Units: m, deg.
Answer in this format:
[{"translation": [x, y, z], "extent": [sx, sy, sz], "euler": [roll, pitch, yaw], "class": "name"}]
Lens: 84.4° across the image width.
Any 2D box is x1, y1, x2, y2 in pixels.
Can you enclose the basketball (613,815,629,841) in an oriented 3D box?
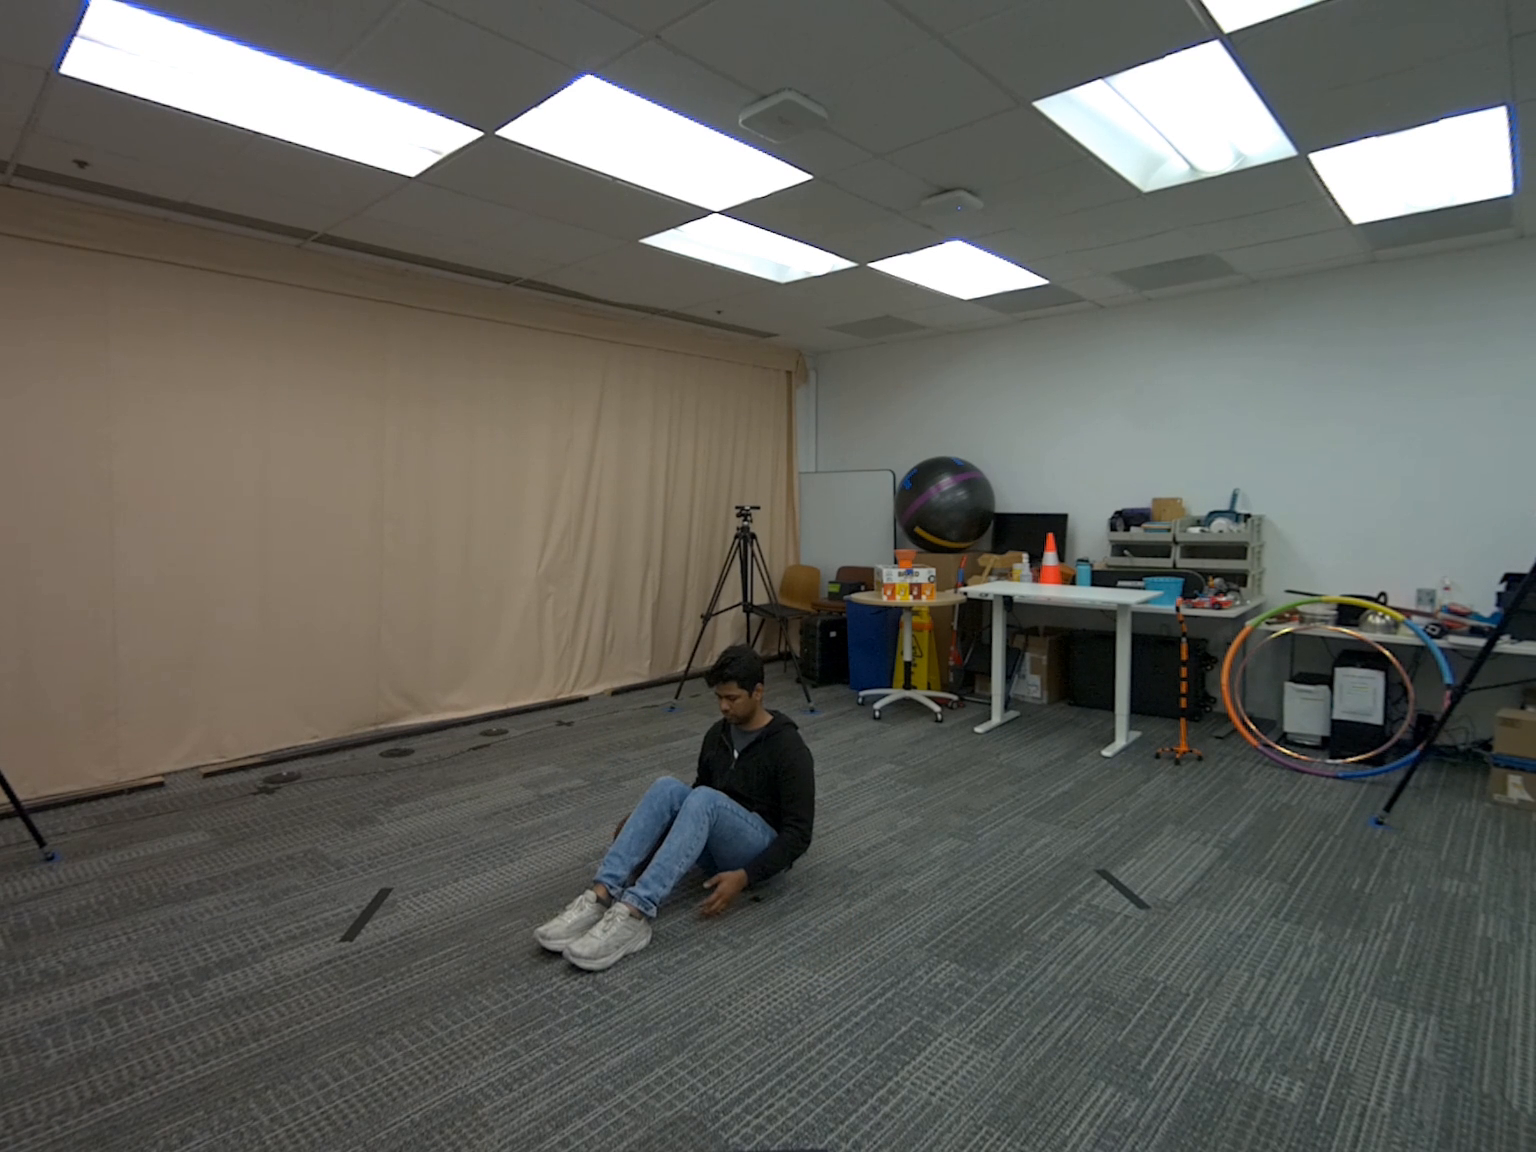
[{"translation": [-0.446, 0.976, 3.113], "extent": [0.236, 0.235, 0.237], "euler": [0, 4, -2], "class": "basketball"}]
